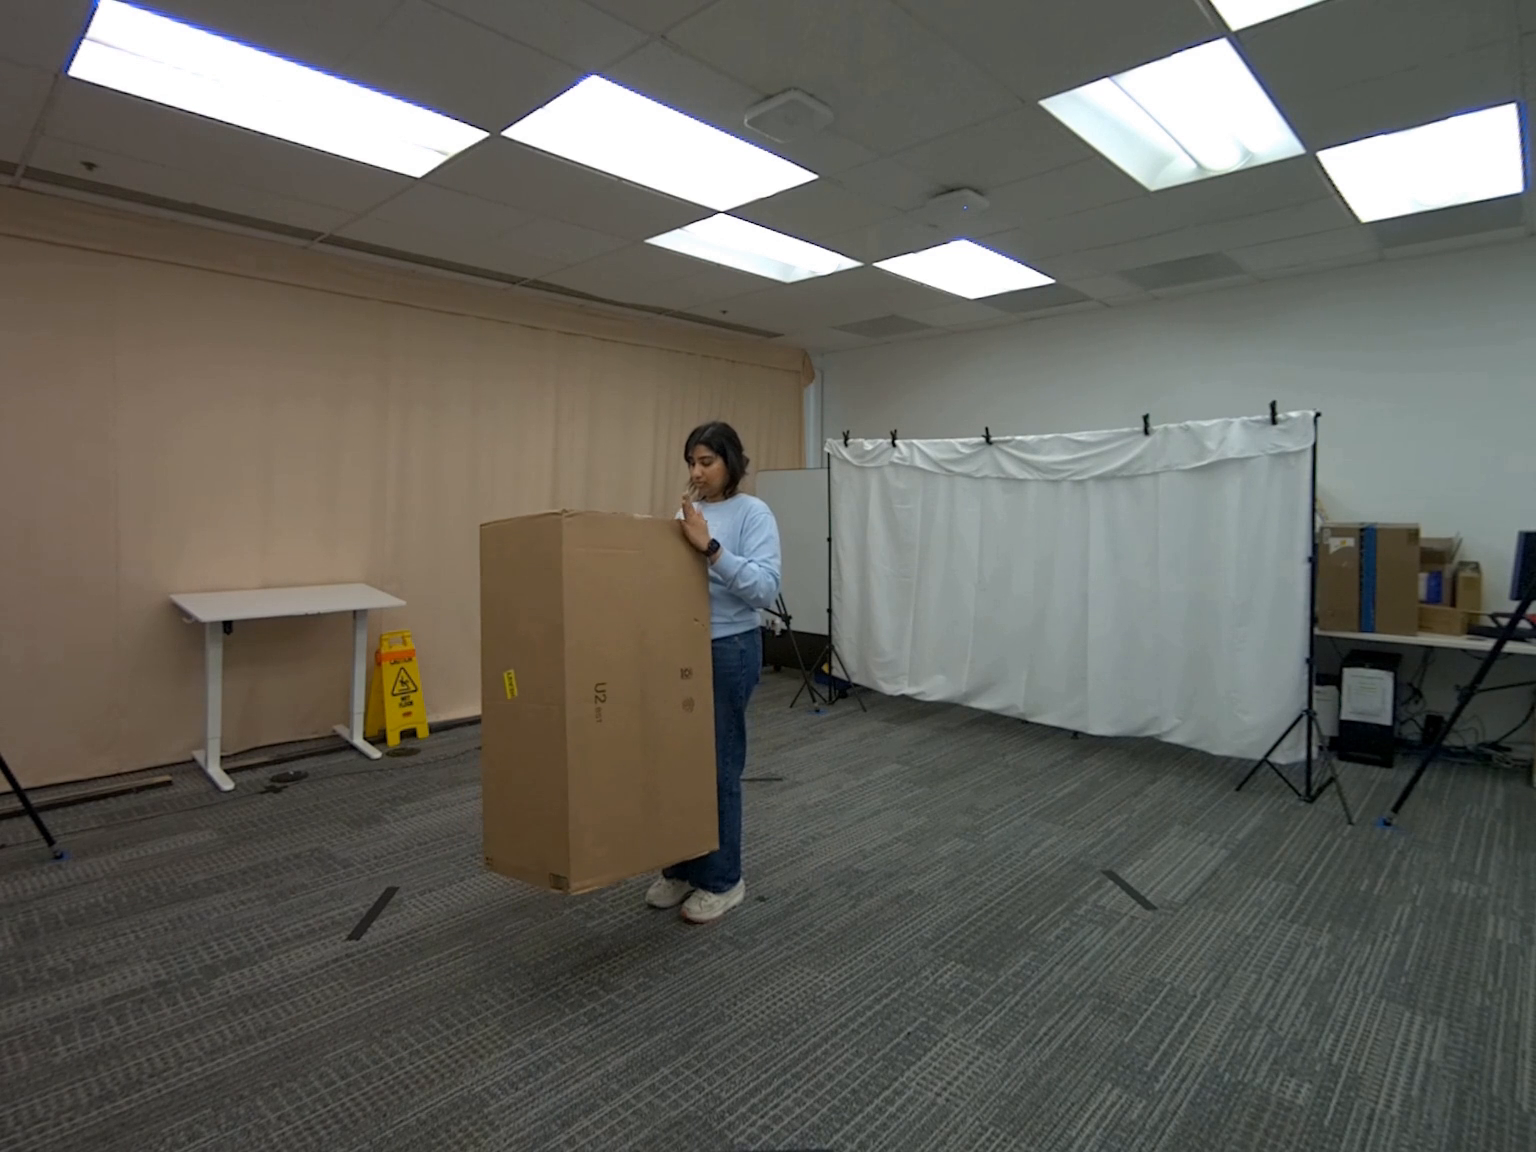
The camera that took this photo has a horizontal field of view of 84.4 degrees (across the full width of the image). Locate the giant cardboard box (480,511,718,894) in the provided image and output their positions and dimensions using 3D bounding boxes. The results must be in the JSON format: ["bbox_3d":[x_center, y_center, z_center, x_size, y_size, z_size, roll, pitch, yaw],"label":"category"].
[{"bbox_3d":[-0.518,0.346,2.575,0.460,1.031,0.565,-7,-7,43],"label":"giant cardboard box"}]
